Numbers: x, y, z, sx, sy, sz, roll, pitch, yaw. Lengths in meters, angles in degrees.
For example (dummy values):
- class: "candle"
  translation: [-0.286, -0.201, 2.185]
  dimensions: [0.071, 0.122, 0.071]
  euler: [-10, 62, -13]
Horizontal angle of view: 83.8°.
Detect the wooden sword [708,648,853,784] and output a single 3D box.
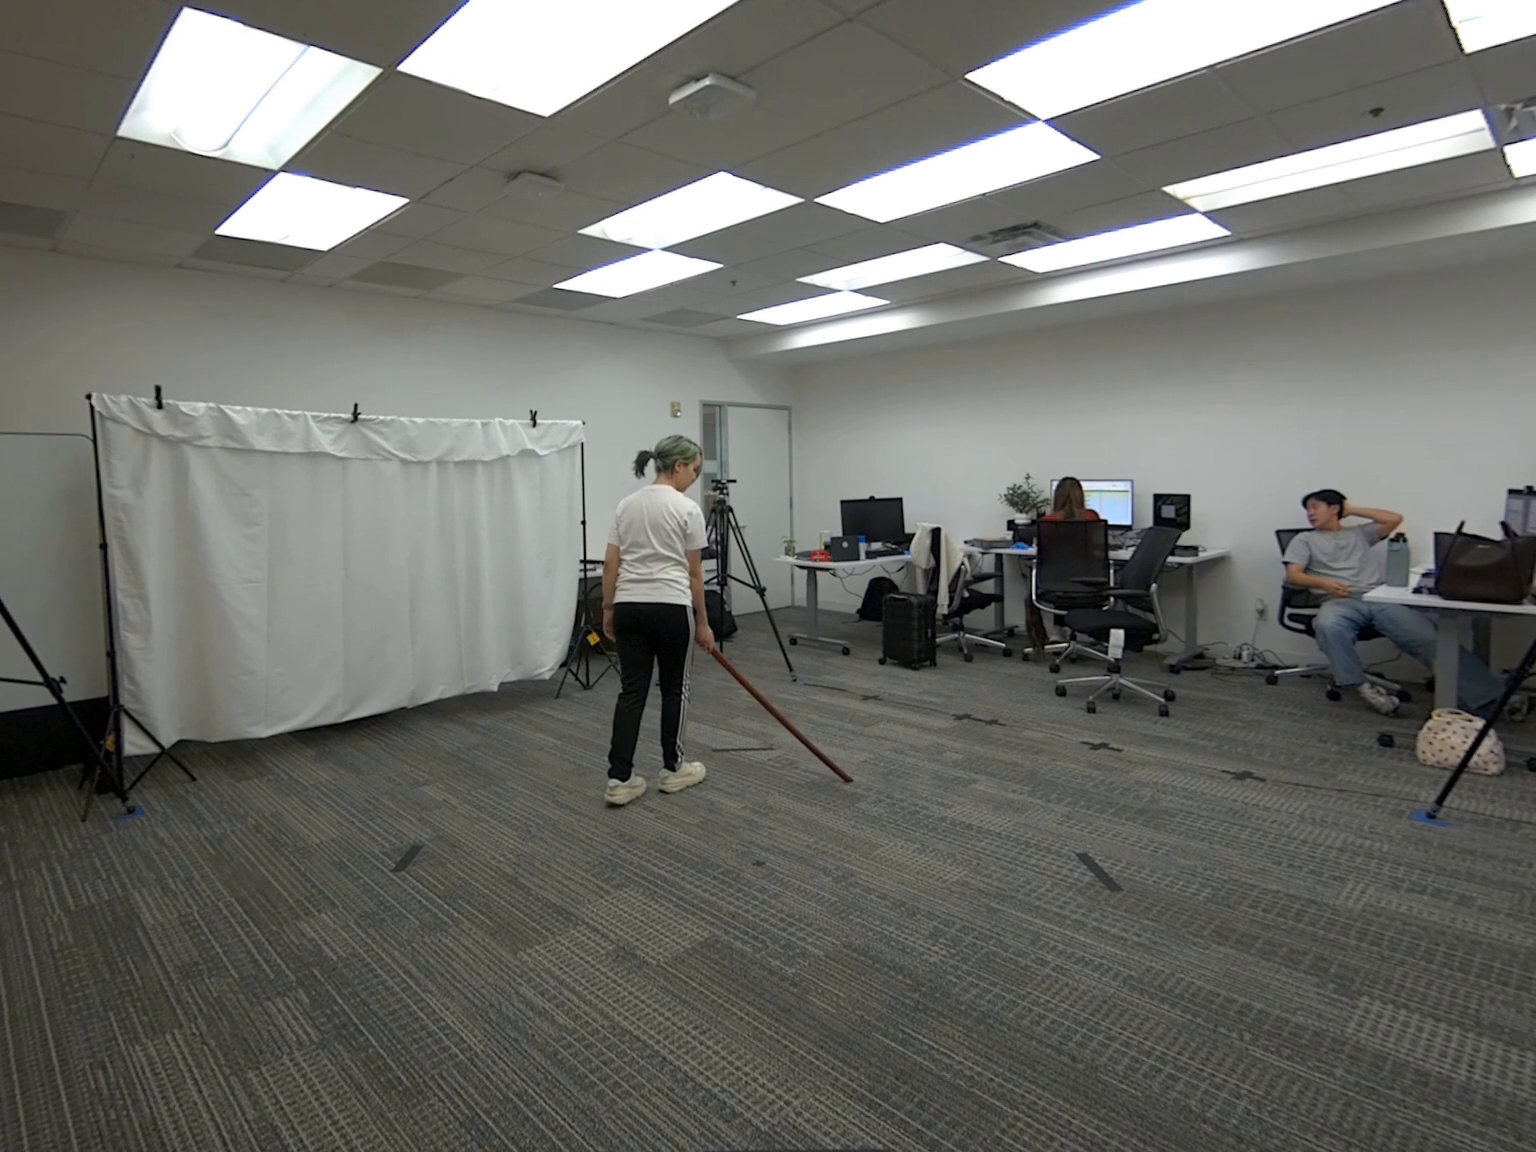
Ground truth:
- class: "wooden sword"
  translation: [0.006, 0.589, 3.953]
  dimensions: [0.024, 1.027, 0.051]
  euler: [-46, -2, -2]
